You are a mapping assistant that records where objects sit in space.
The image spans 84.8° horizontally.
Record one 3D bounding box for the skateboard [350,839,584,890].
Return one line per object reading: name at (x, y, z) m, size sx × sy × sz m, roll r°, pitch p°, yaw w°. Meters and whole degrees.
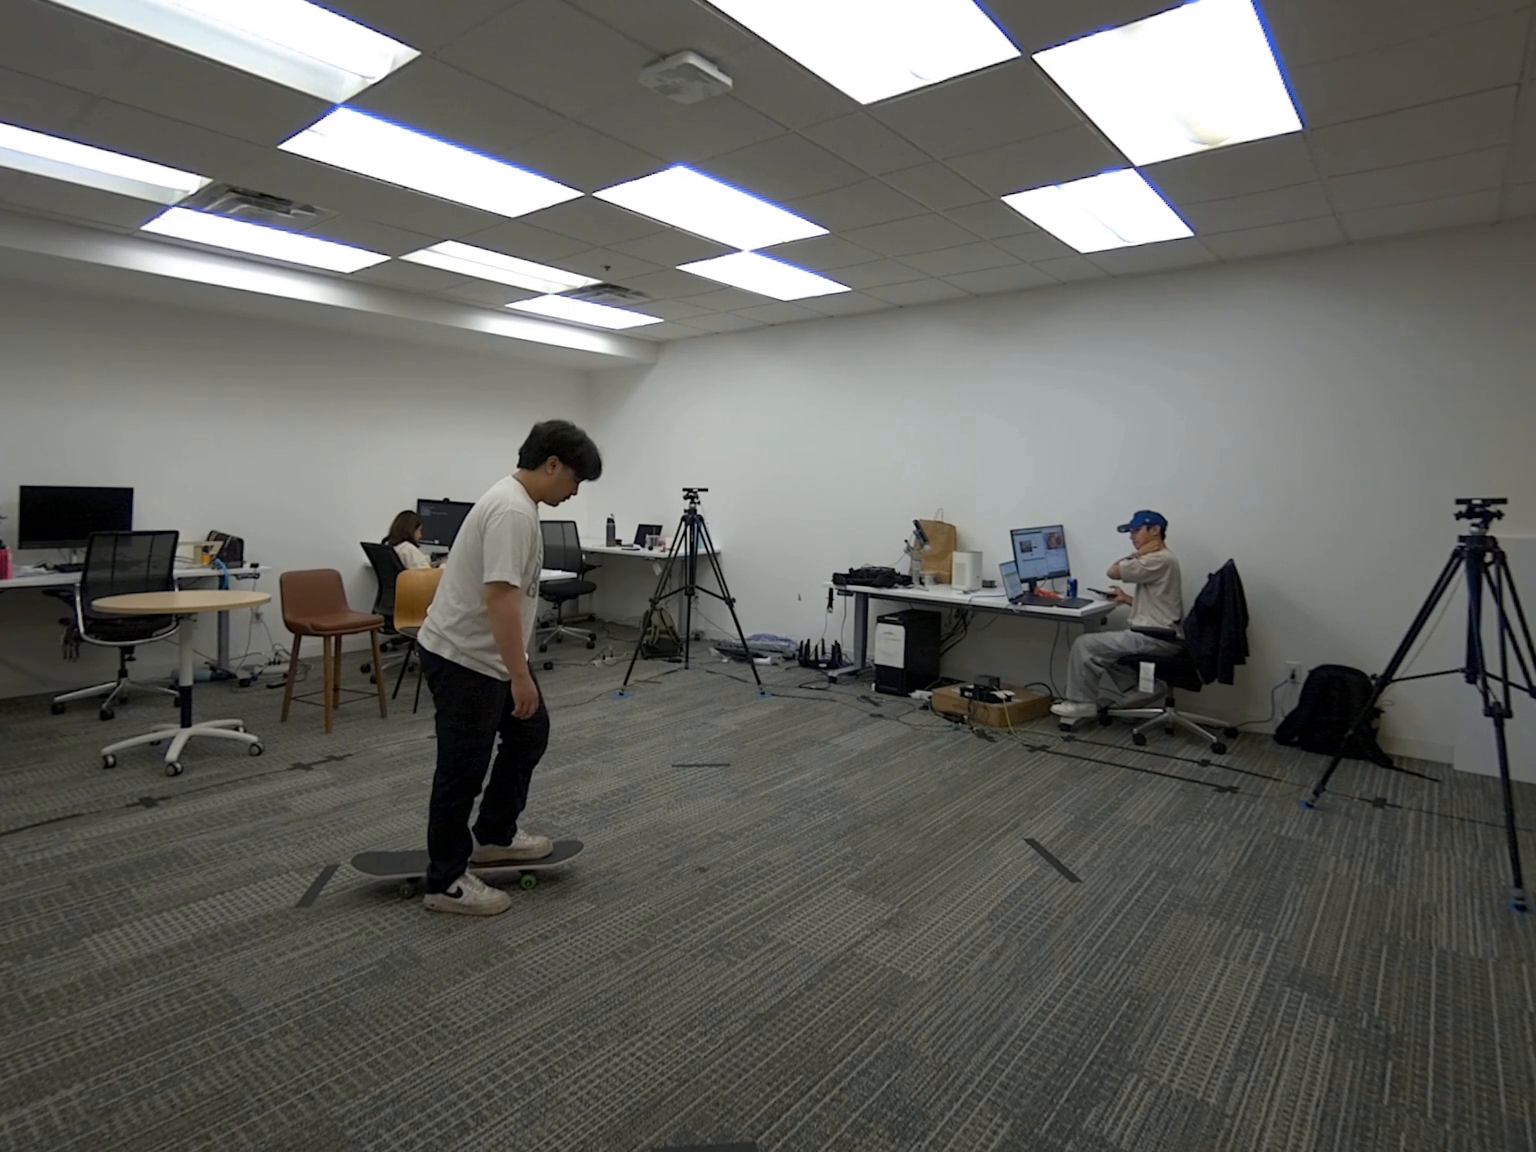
skateboard at (-1.049, 1.013, 2.969) m, size 0.776 × 0.110 × 0.196 m, roll 0°, pitch 6°, yaw -10°
